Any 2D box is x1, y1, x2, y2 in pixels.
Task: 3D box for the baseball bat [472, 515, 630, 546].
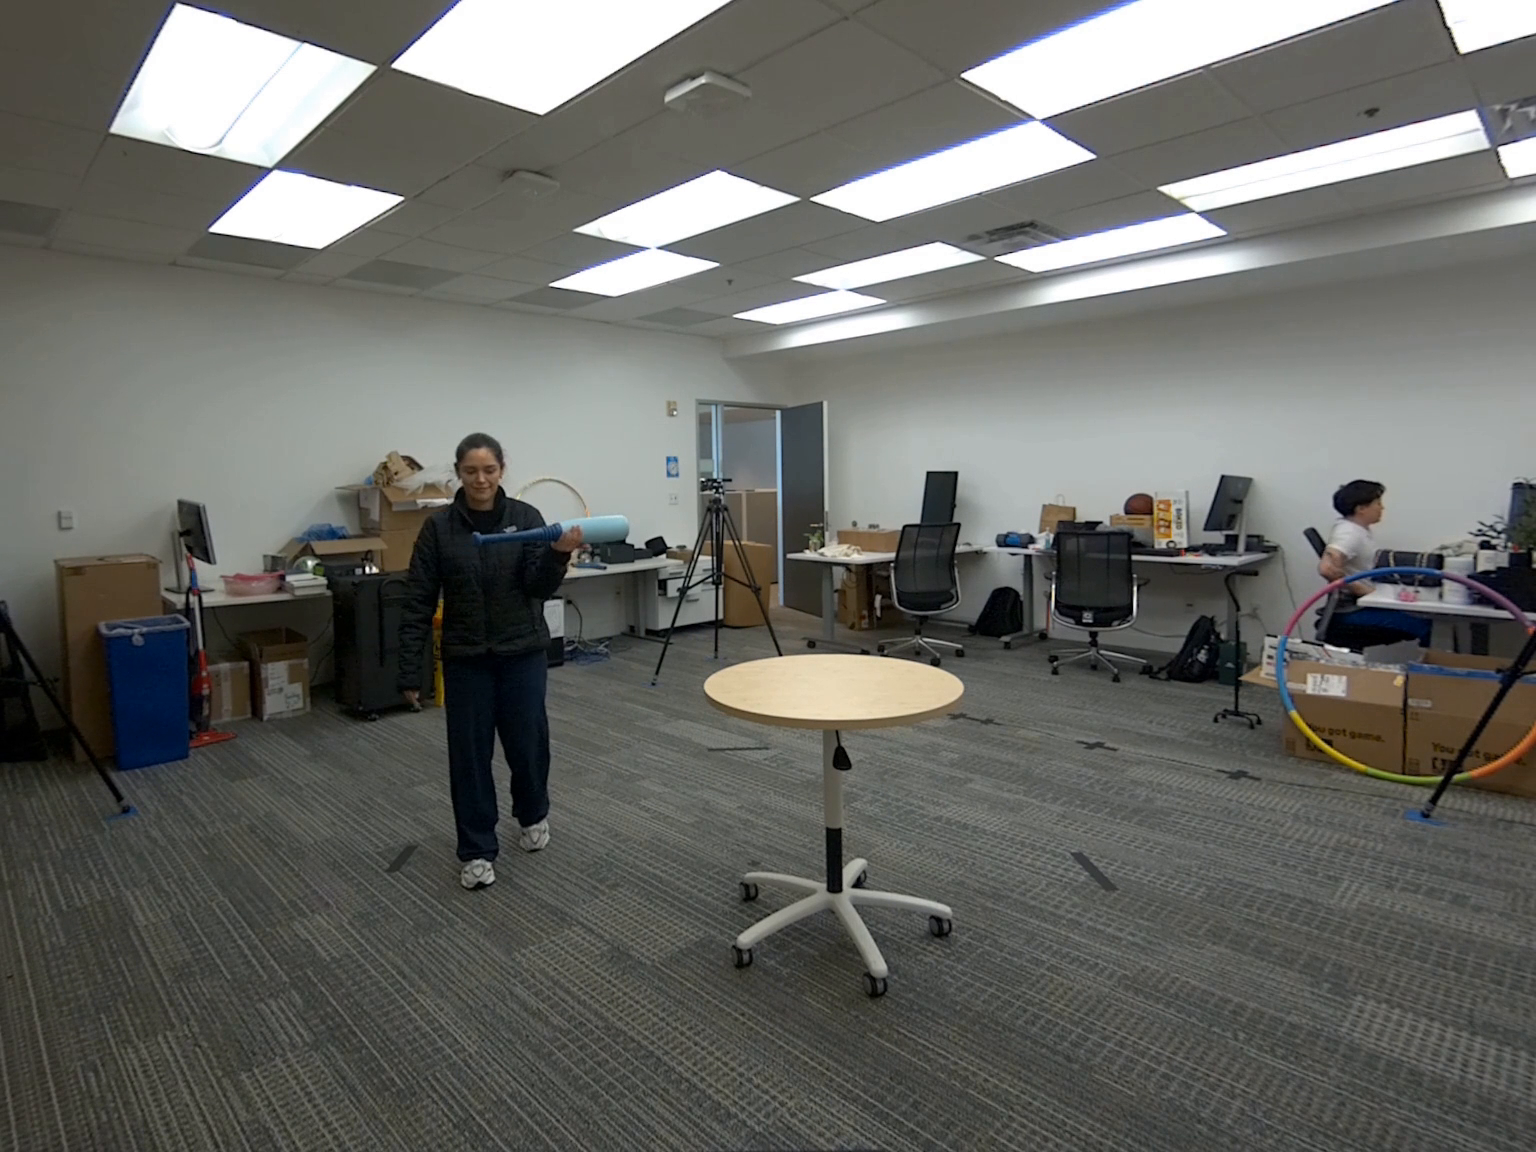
[{"bbox_3d":[-0.722,-0.136,2.855,0.531,0.088,0.091,-8,8,-31],"label":"baseball bat"}]
